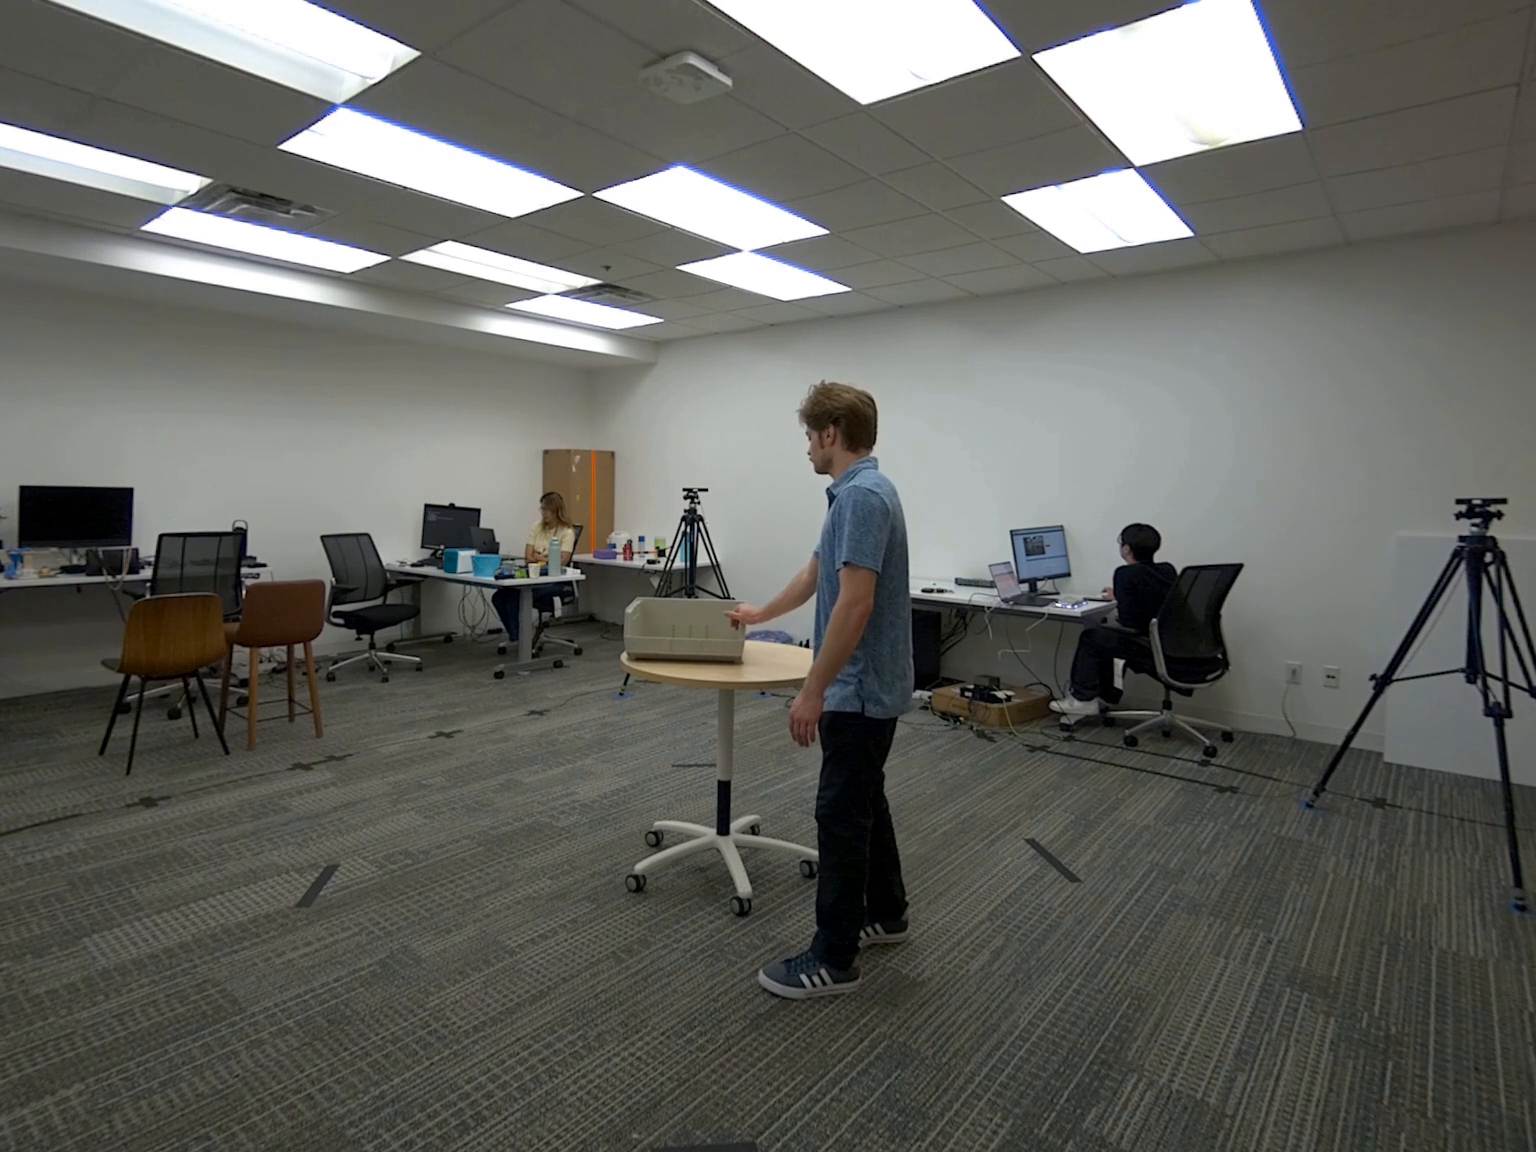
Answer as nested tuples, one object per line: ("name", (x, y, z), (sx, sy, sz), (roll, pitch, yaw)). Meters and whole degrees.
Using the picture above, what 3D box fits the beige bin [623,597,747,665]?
("beige bin", (-0.302, 0.197, 3.085), (0.422, 0.188, 0.379), (1, 4, -1))
